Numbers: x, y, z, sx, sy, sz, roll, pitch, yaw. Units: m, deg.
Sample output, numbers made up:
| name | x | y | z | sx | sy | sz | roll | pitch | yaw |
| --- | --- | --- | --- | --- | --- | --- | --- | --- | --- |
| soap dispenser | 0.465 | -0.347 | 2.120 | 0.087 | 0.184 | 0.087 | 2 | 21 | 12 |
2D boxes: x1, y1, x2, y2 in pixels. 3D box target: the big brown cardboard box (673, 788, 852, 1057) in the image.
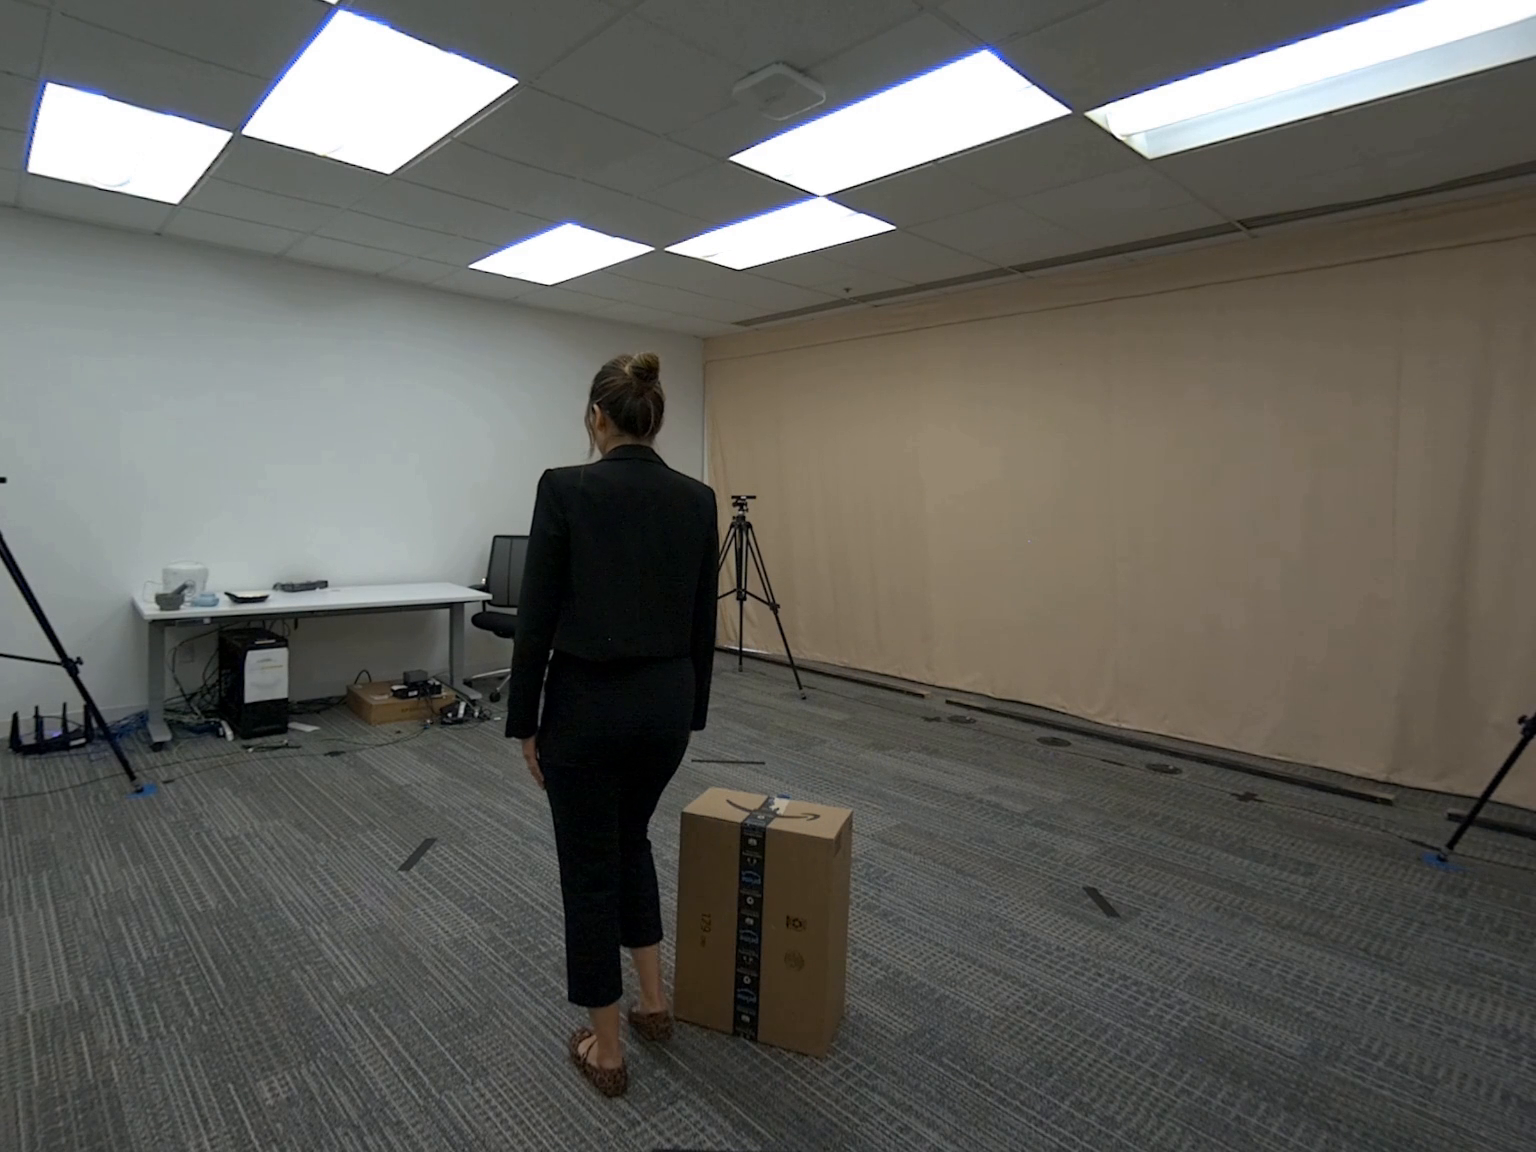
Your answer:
| name | x | y | z | sx | sy | sz | roll | pitch | yaw |
| --- | --- | --- | --- | --- | --- | --- | --- | --- | --- |
| big brown cardboard box | -0.015 | 0.906 | 2.243 | 0.424 | 0.587 | 0.230 | 4 | 5 | 20 |
